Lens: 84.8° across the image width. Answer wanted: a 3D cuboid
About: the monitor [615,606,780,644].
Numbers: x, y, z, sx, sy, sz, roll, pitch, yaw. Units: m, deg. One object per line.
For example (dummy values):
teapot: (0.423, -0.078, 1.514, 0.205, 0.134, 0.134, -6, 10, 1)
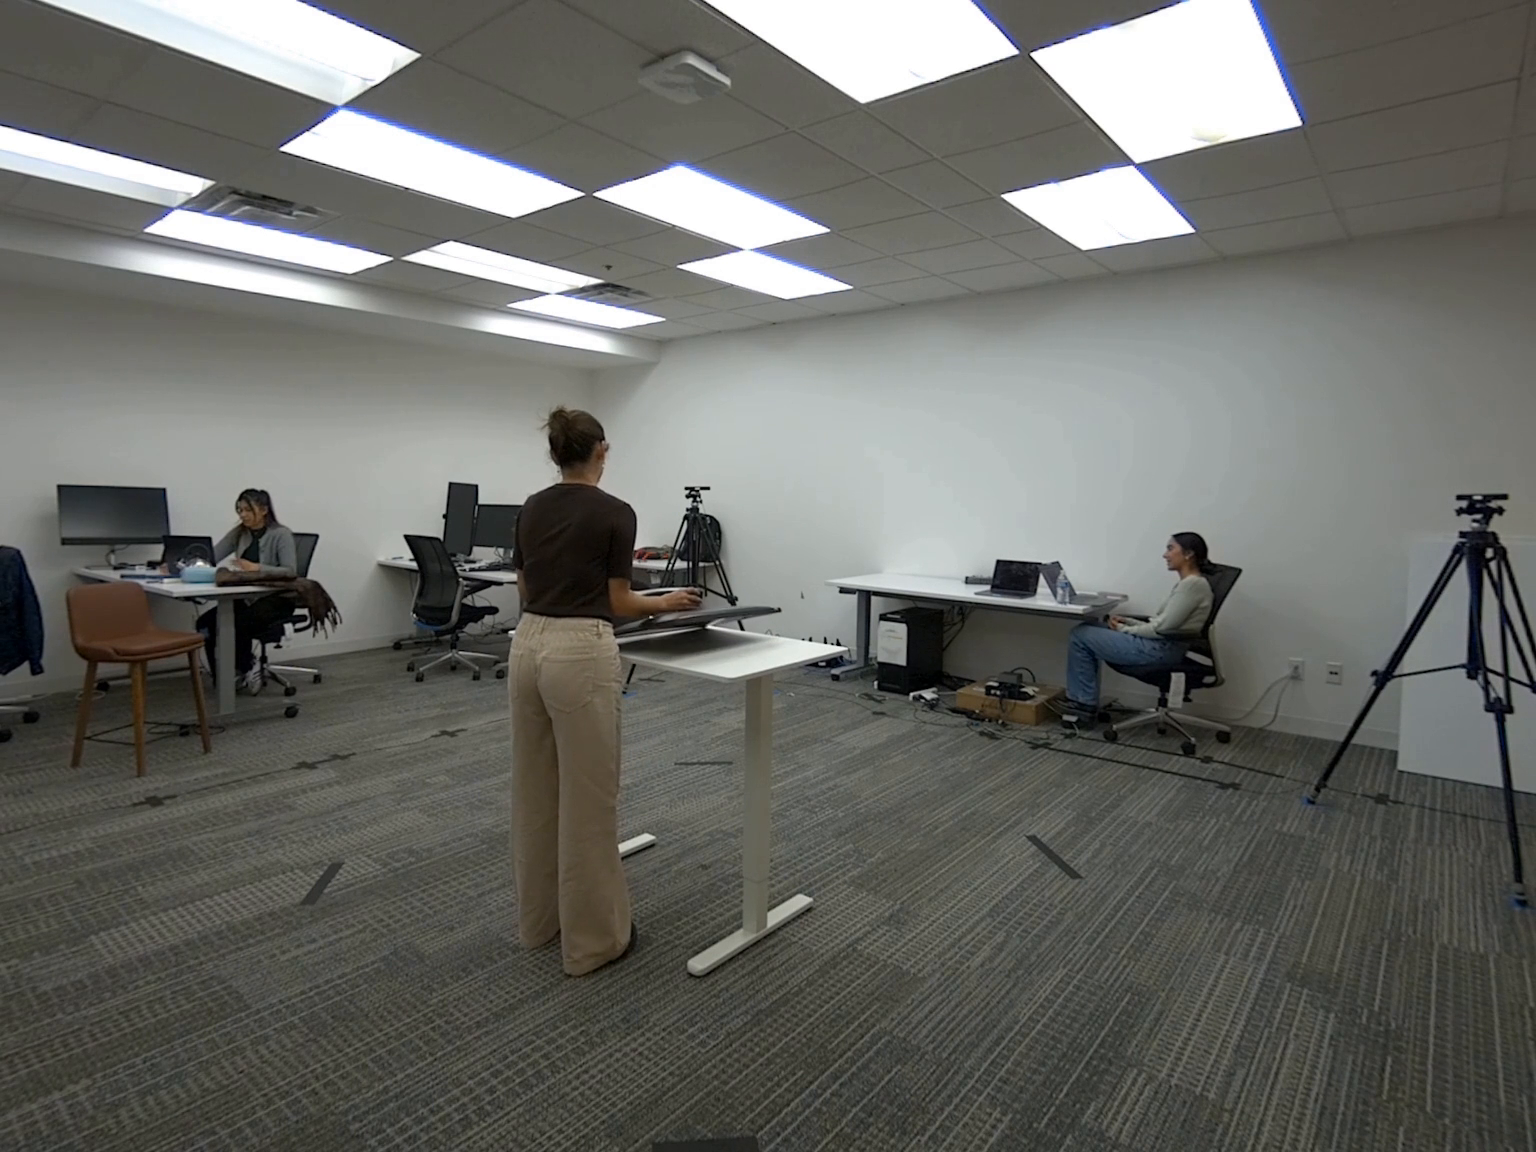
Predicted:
monitor: (-0.330, 0.119, 2.839, 0.540, 0.186, 0.523, 3, 6, 41)
